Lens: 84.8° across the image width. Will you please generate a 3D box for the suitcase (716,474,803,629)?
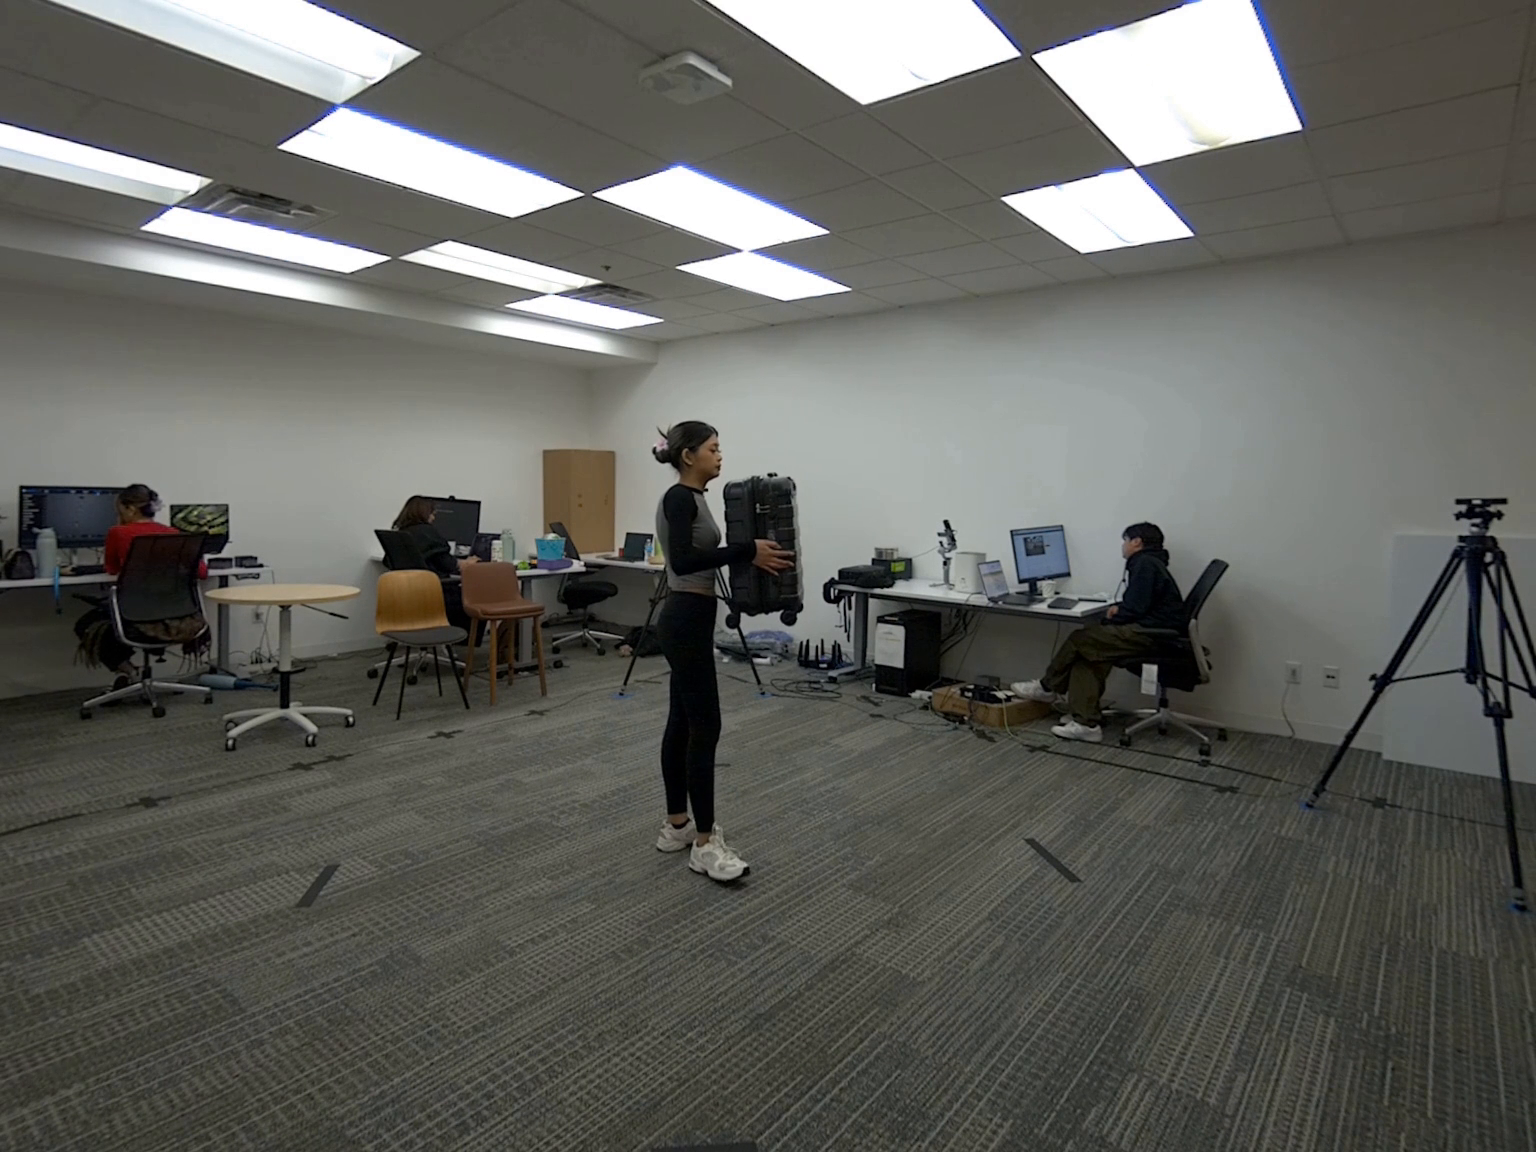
[{"bbox_3d":[-0.019,-0.114,3.194,0.250,0.548,0.373,-3,3,8],"label":"suitcase"}]
